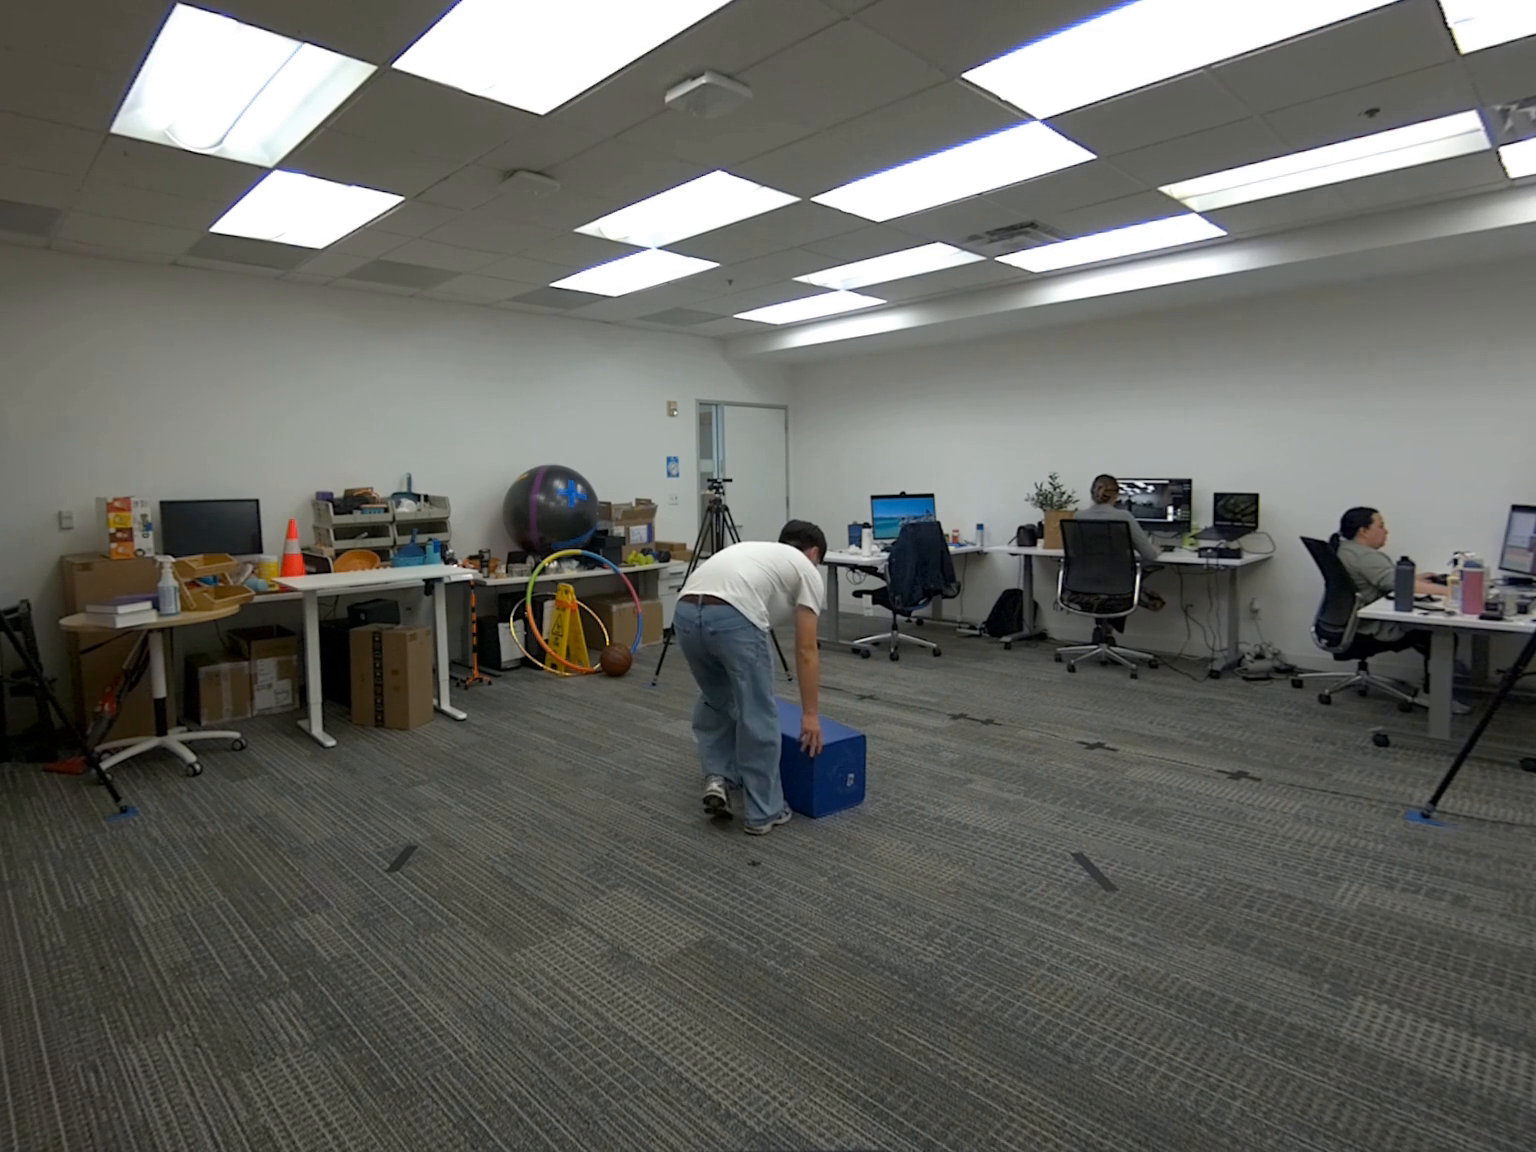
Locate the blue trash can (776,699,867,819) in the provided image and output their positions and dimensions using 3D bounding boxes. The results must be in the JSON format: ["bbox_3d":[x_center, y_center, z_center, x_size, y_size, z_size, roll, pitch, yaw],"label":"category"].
[{"bbox_3d":[0.085,0.792,3.858,0.364,0.376,0.737,-3,9,-38],"label":"blue trash can"}]
